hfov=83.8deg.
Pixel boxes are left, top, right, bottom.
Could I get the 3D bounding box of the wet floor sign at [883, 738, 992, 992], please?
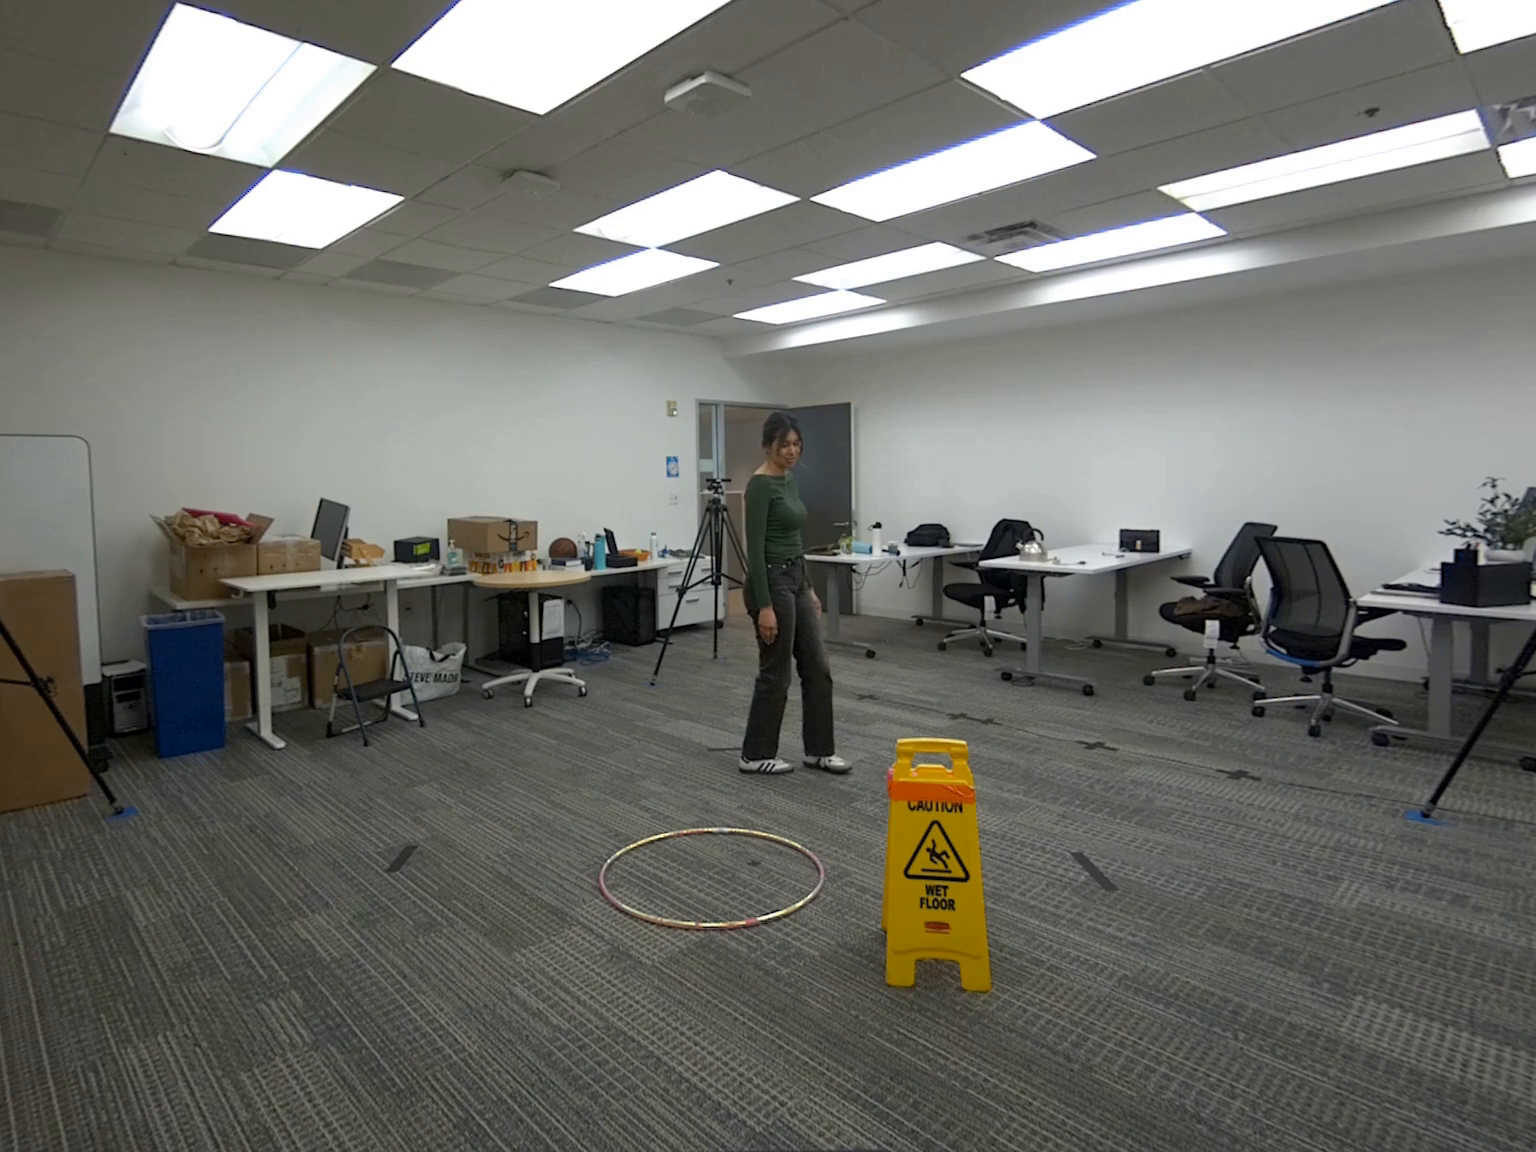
[{"bbox_3d":[0.468,0.789,2.455,0.284,0.644,0.289,-1,4,7],"label":"wet floor sign"}]
